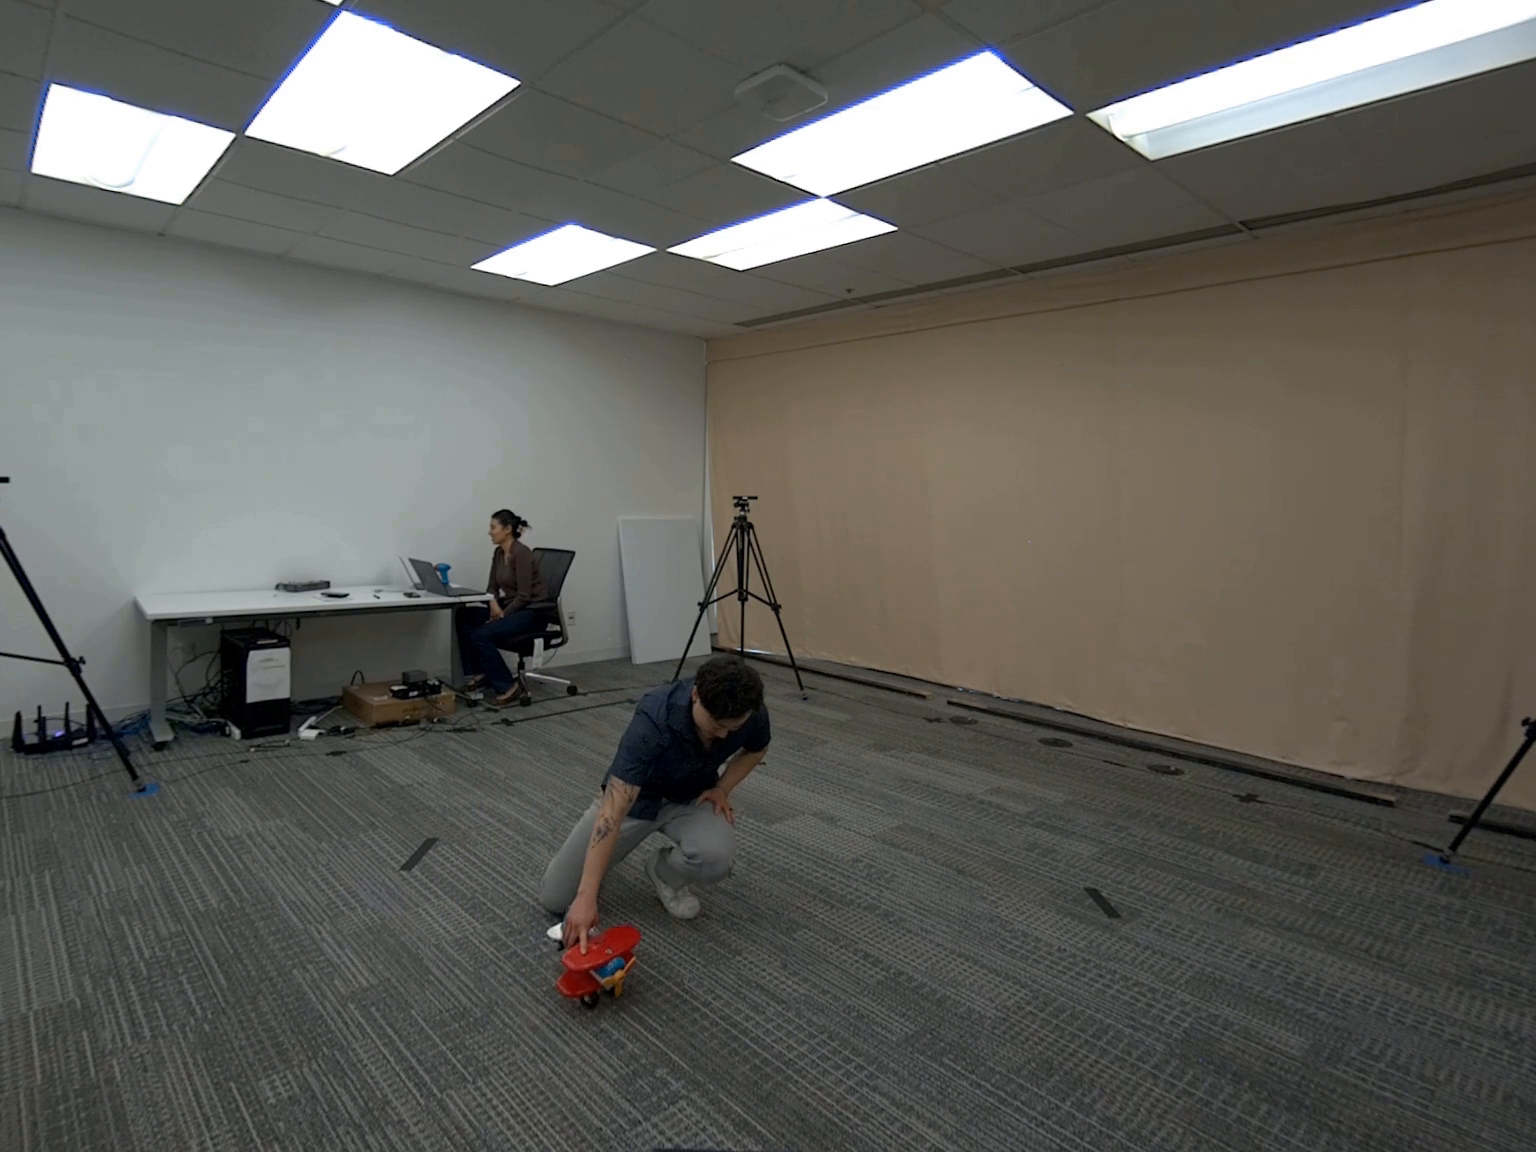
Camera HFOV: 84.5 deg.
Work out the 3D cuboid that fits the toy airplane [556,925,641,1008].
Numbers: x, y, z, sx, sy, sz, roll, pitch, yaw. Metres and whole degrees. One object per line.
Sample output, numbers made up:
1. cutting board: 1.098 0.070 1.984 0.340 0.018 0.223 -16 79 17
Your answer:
1. toy airplane: -0.517 1.067 2.324 0.261 0.155 0.251 28 22 5
